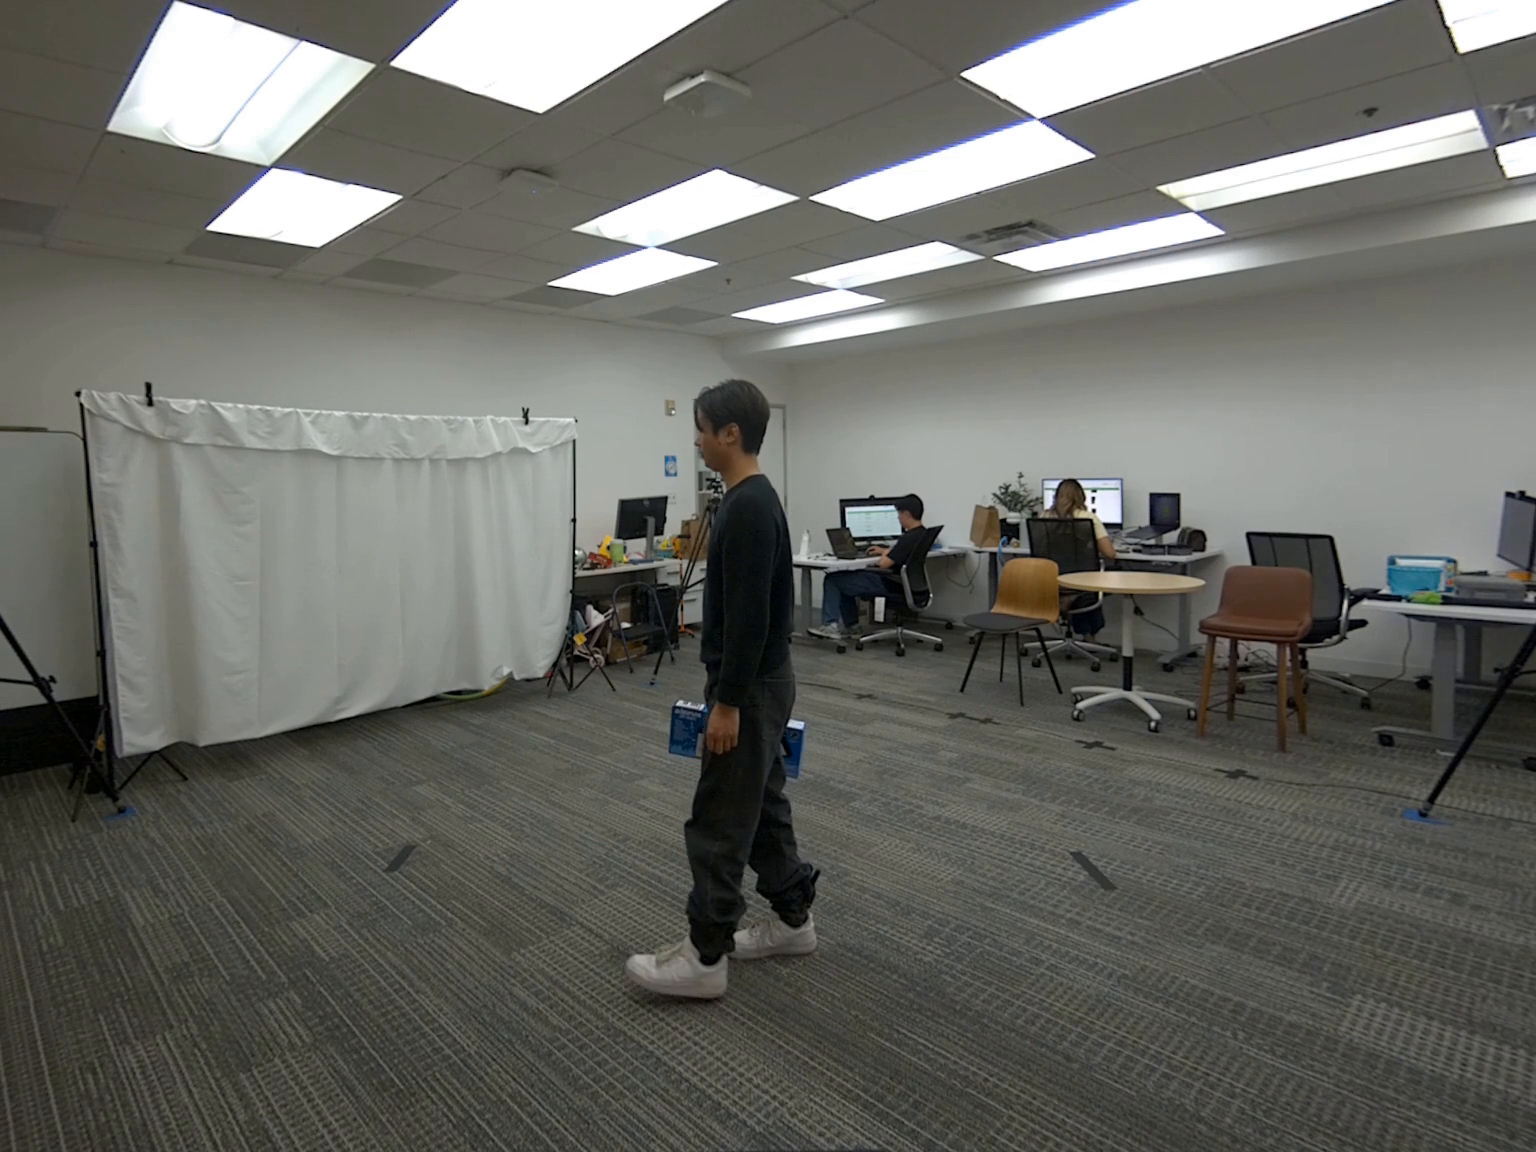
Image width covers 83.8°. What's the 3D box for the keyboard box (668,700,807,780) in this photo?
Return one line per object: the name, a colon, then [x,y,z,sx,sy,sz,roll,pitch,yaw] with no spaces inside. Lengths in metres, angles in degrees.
keyboard box: [-0.101,0.529,2.791,0.443,0.174,0.059,8,12,12]
